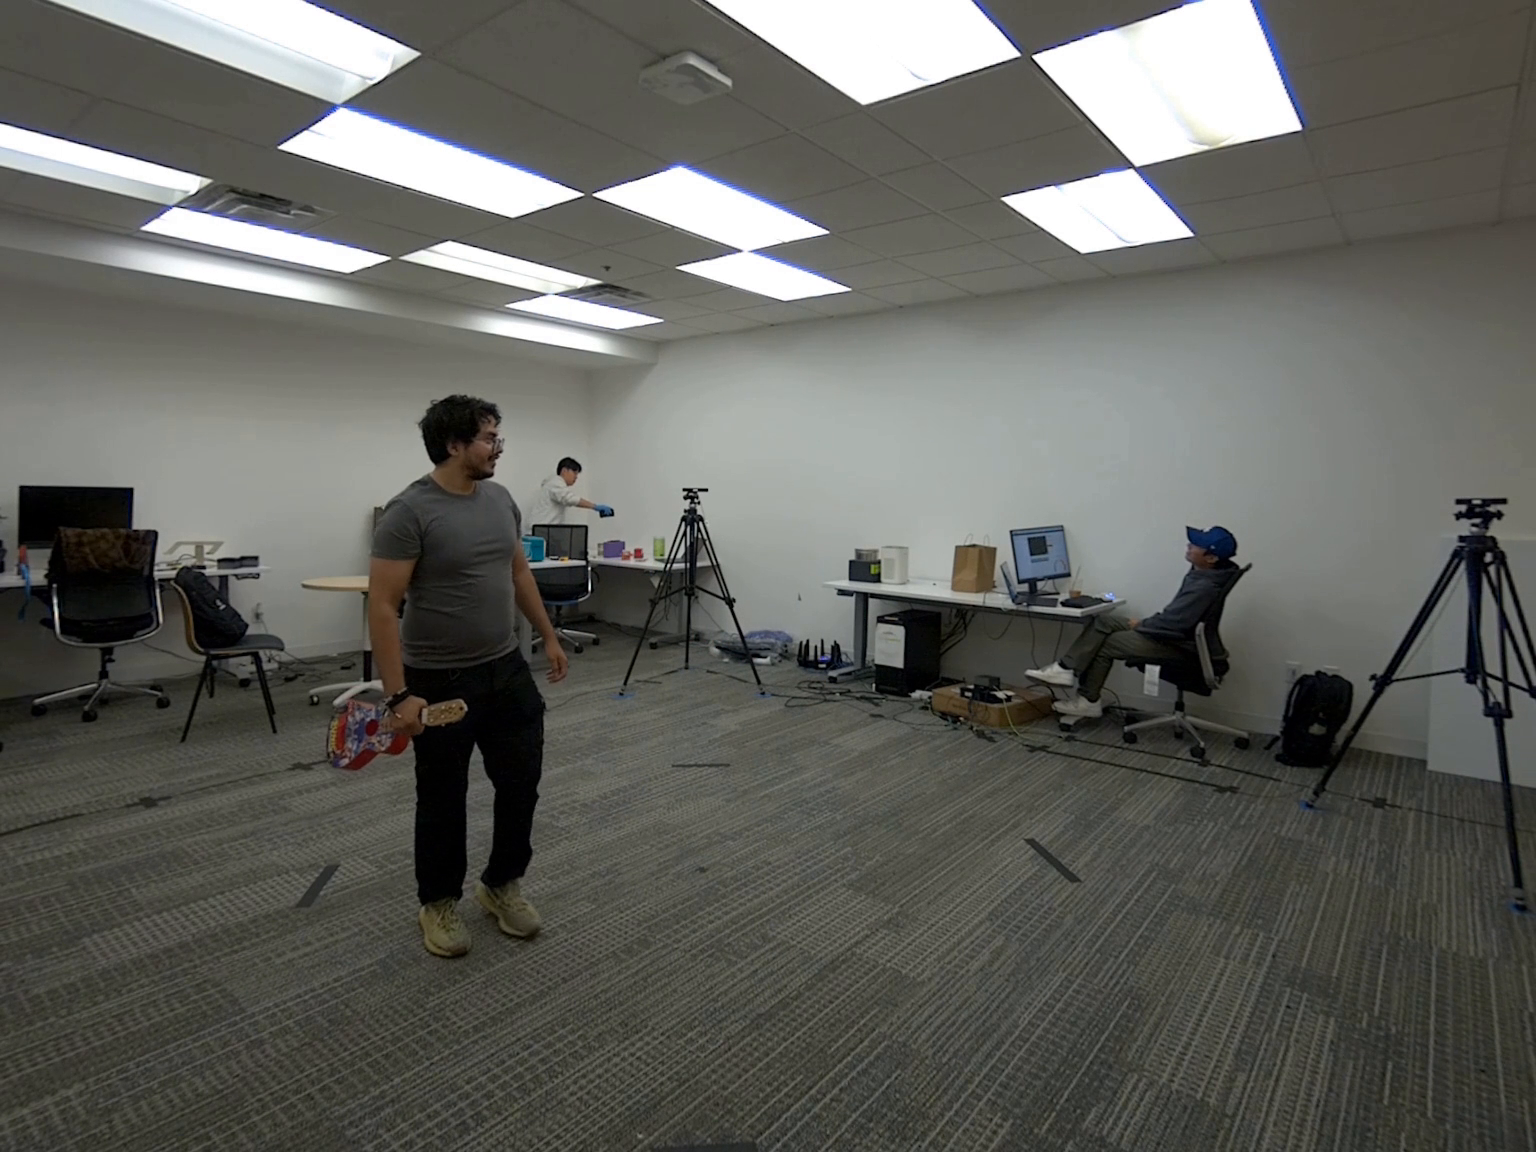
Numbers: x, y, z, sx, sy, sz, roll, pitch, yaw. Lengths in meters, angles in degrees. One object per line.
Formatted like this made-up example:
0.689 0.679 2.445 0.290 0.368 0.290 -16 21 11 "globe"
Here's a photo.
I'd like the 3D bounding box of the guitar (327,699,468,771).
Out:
-1.040 0.448 2.358 0.509 0.196 0.068 -4 -19 24 "guitar"
